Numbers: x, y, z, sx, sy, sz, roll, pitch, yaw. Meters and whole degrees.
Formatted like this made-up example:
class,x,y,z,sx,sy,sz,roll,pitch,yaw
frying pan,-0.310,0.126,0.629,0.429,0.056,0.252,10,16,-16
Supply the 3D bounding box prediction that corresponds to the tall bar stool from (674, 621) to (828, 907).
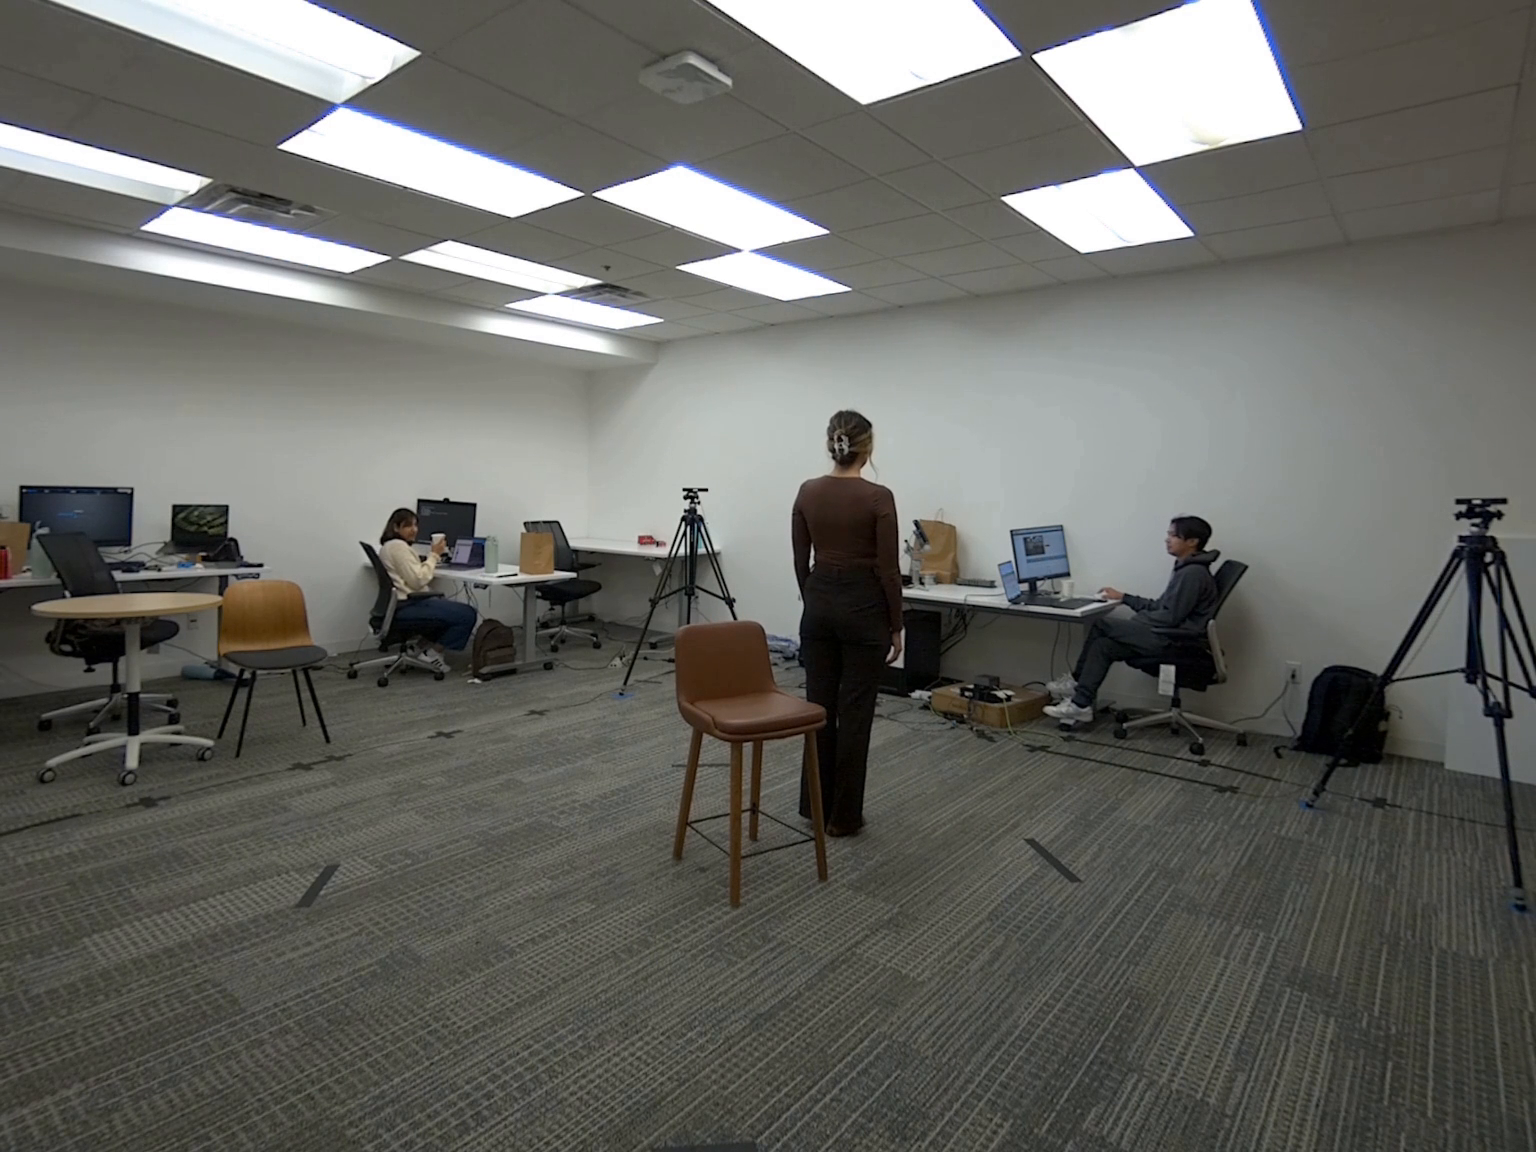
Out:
class,x,y,z,sx,sy,sz,roll,pitch,yaw
tall bar stool,-0.081,0.638,3.104,0.443,0.889,0.482,-1,2,-34
